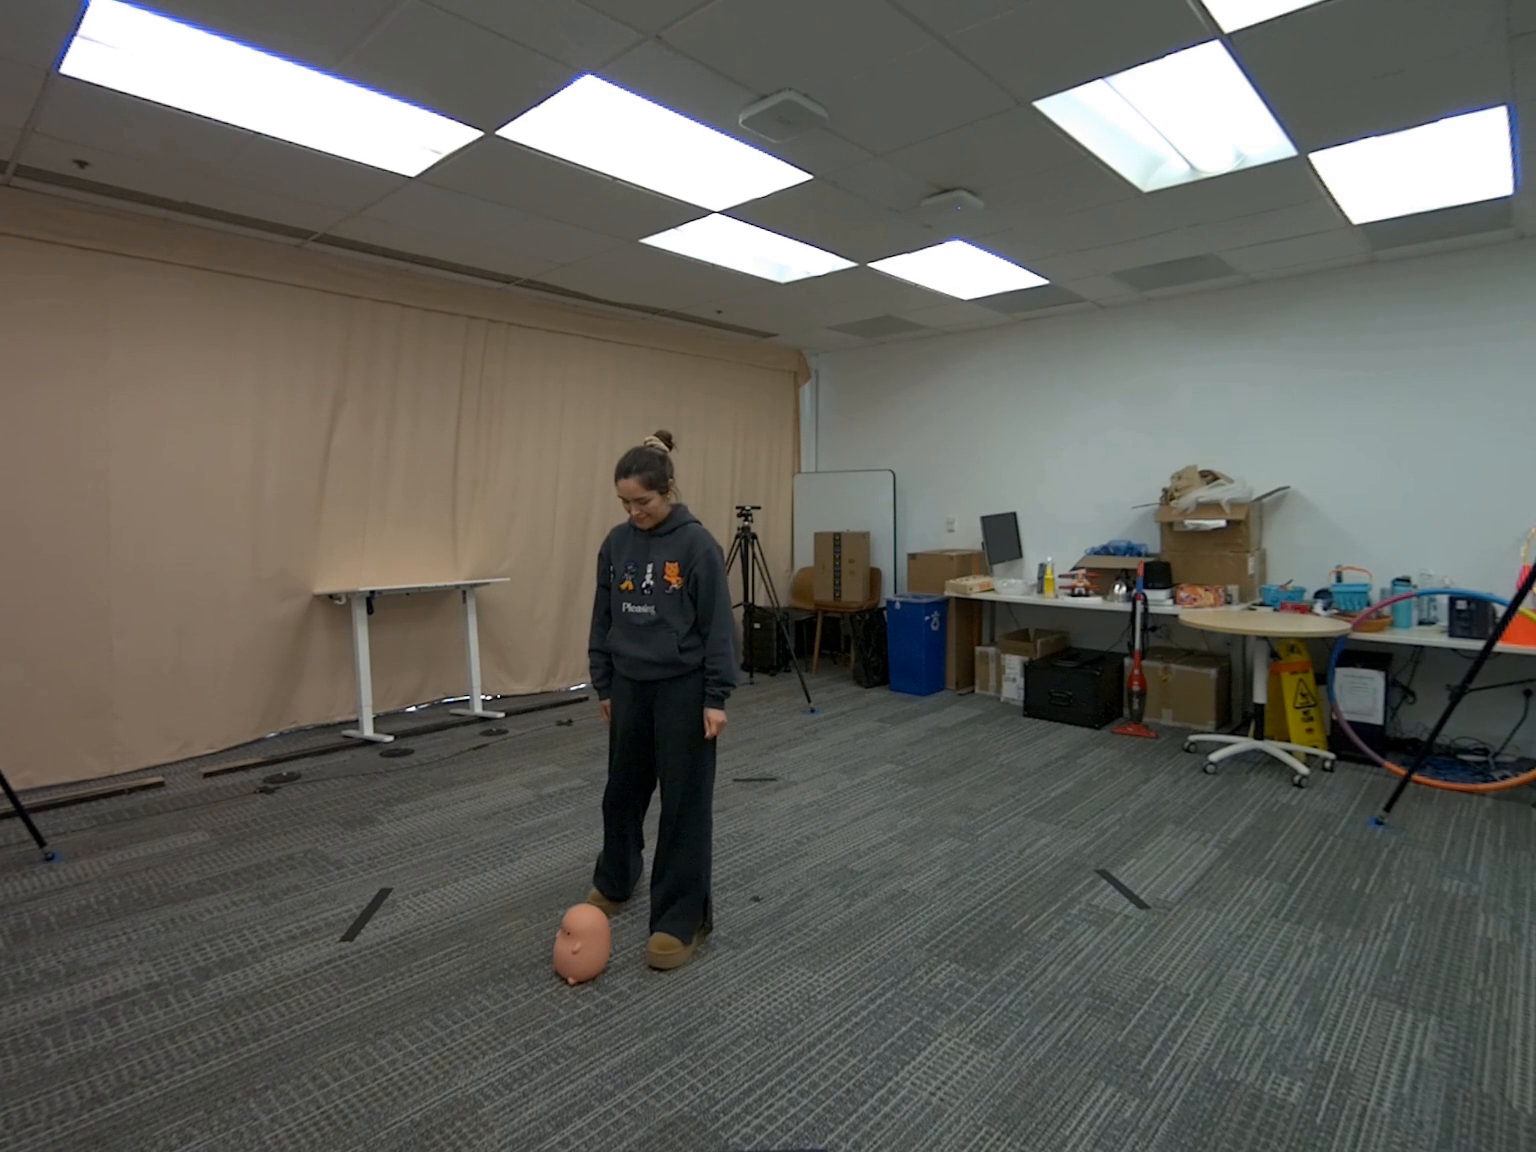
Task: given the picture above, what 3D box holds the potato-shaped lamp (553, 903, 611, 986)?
[{"bbox_3d":[-0.543,1.086,2.522,0.166,0.198,0.170,3,2,-38],"label":"potato-shaped lamp"}]
